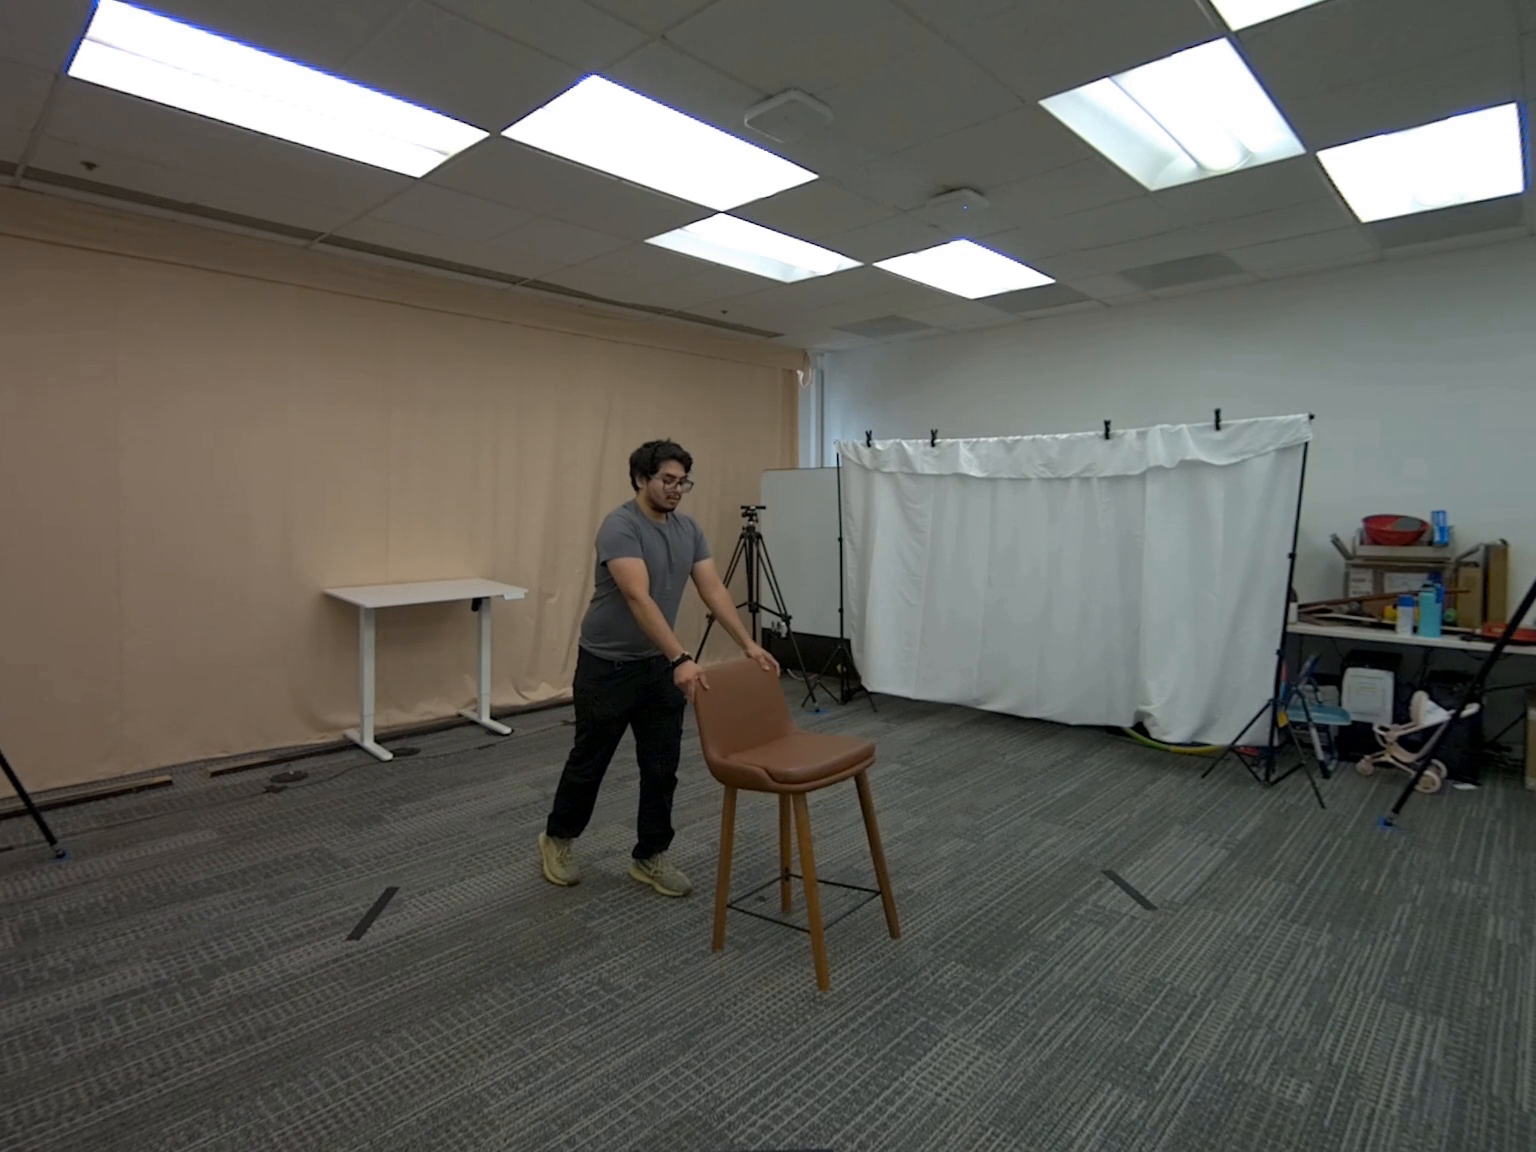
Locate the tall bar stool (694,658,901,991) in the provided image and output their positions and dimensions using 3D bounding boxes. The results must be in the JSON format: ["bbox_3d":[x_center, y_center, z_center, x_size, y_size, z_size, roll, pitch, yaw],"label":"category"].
[{"bbox_3d":[0.073,0.717,2.640,0.481,0.891,0.443,-8,-2,42],"label":"tall bar stool"}]
